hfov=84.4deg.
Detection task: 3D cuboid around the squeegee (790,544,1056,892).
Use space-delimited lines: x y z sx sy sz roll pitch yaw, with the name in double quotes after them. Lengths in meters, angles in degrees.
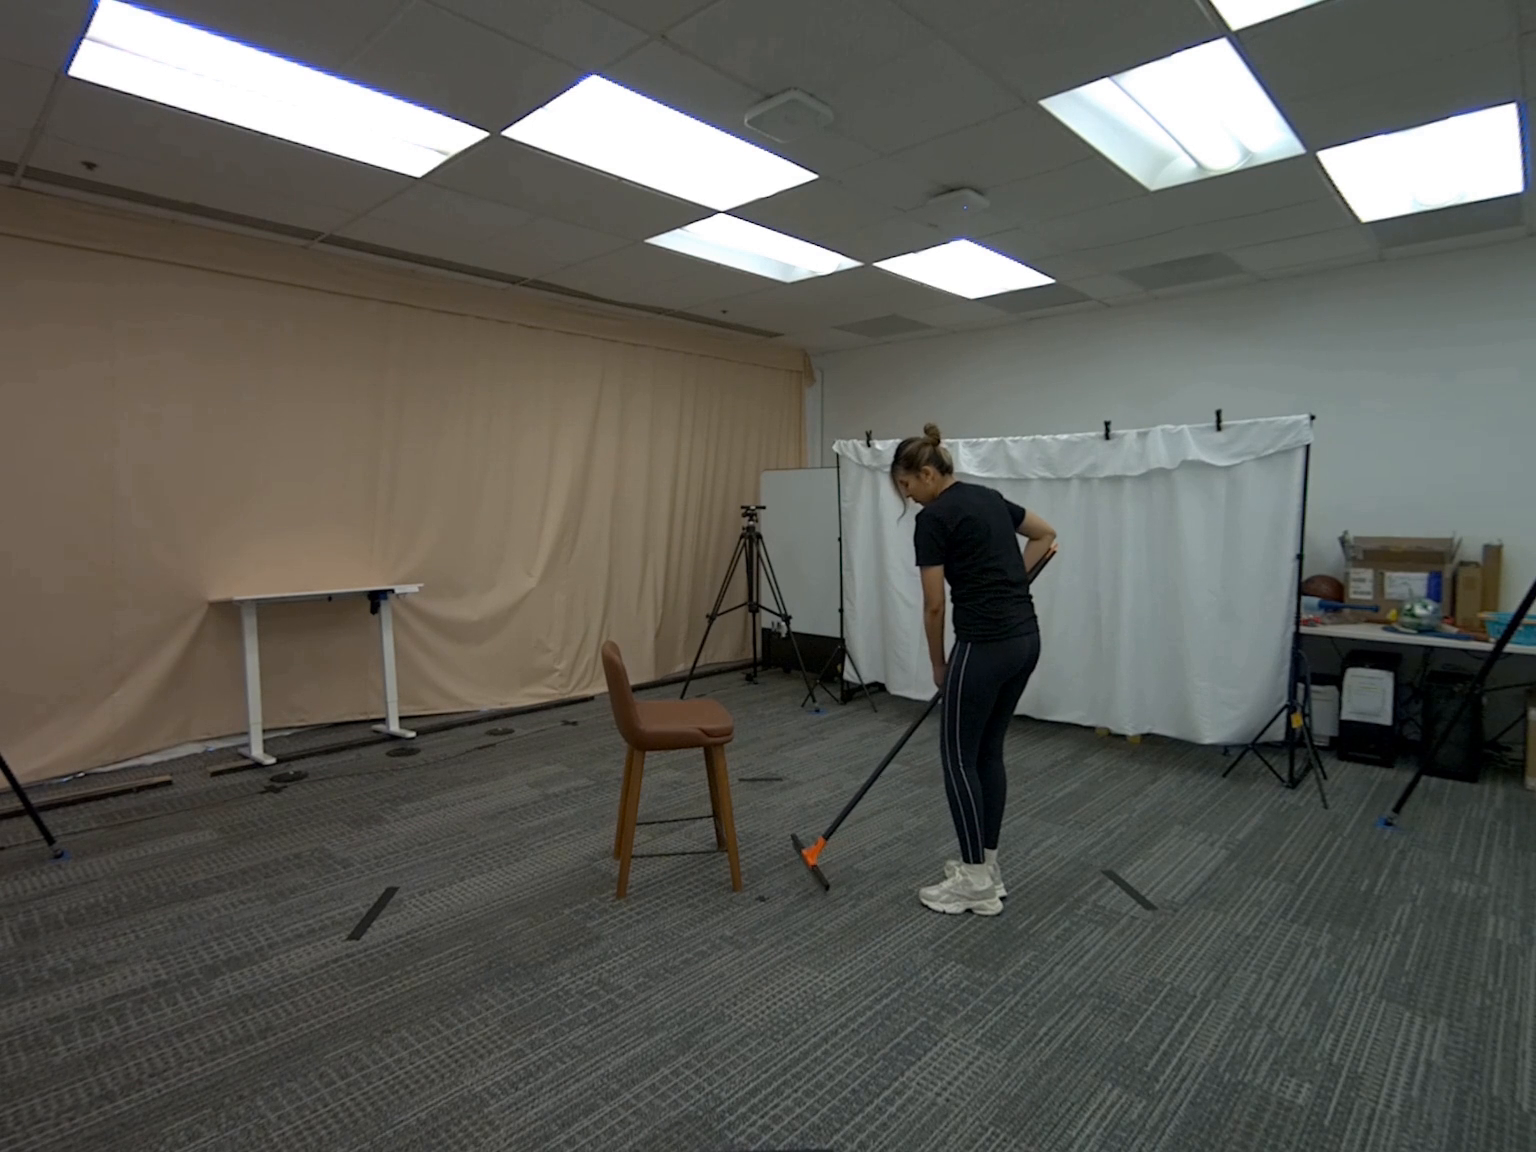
0.611 0.466 3.158 0.052 1.536 0.443 39 -5 -11 "squeegee"
